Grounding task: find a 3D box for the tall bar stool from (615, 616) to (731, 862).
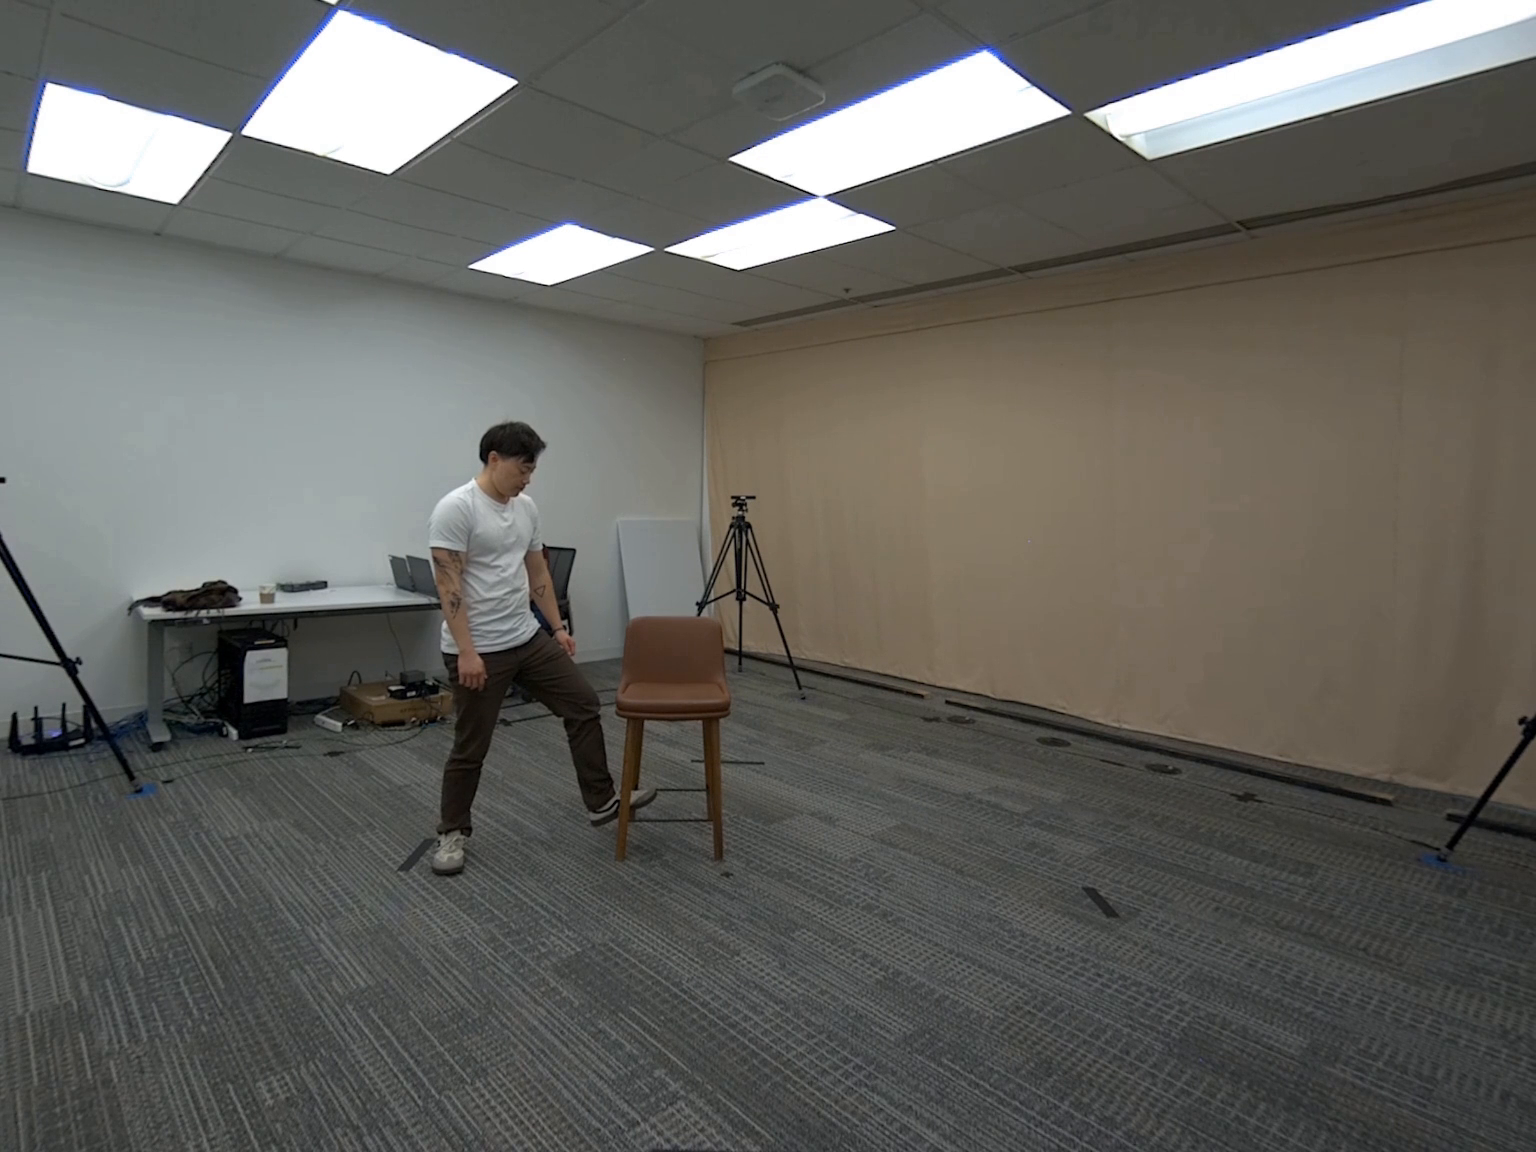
[{"bbox_3d":[-0.392,0.633,3.413,0.455,0.889,0.469,1,2,-4],"label":"tall bar stool"}]
